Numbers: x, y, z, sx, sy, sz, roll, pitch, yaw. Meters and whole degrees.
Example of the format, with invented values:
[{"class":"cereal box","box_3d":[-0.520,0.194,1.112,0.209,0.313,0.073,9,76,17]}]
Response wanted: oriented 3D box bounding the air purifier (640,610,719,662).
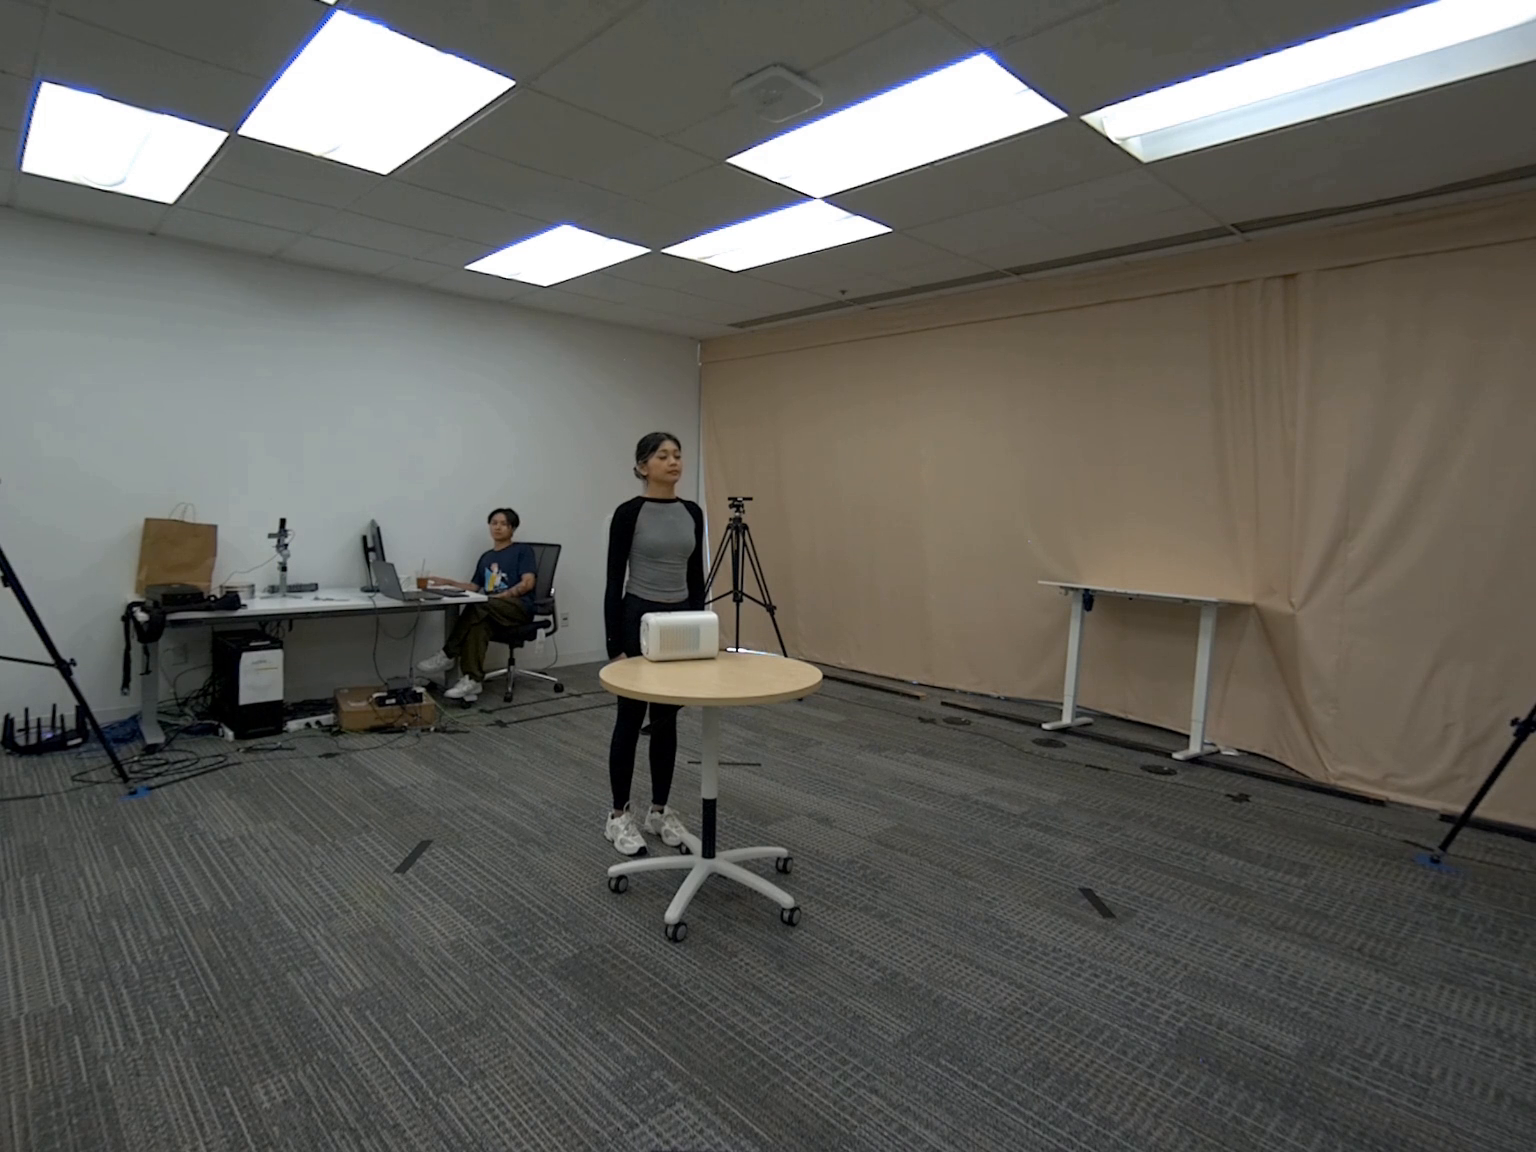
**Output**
[{"class":"air purifier","box_3d":[-0.340,0.220,3.133,0.261,0.171,0.174,-1,5,-21]}]
